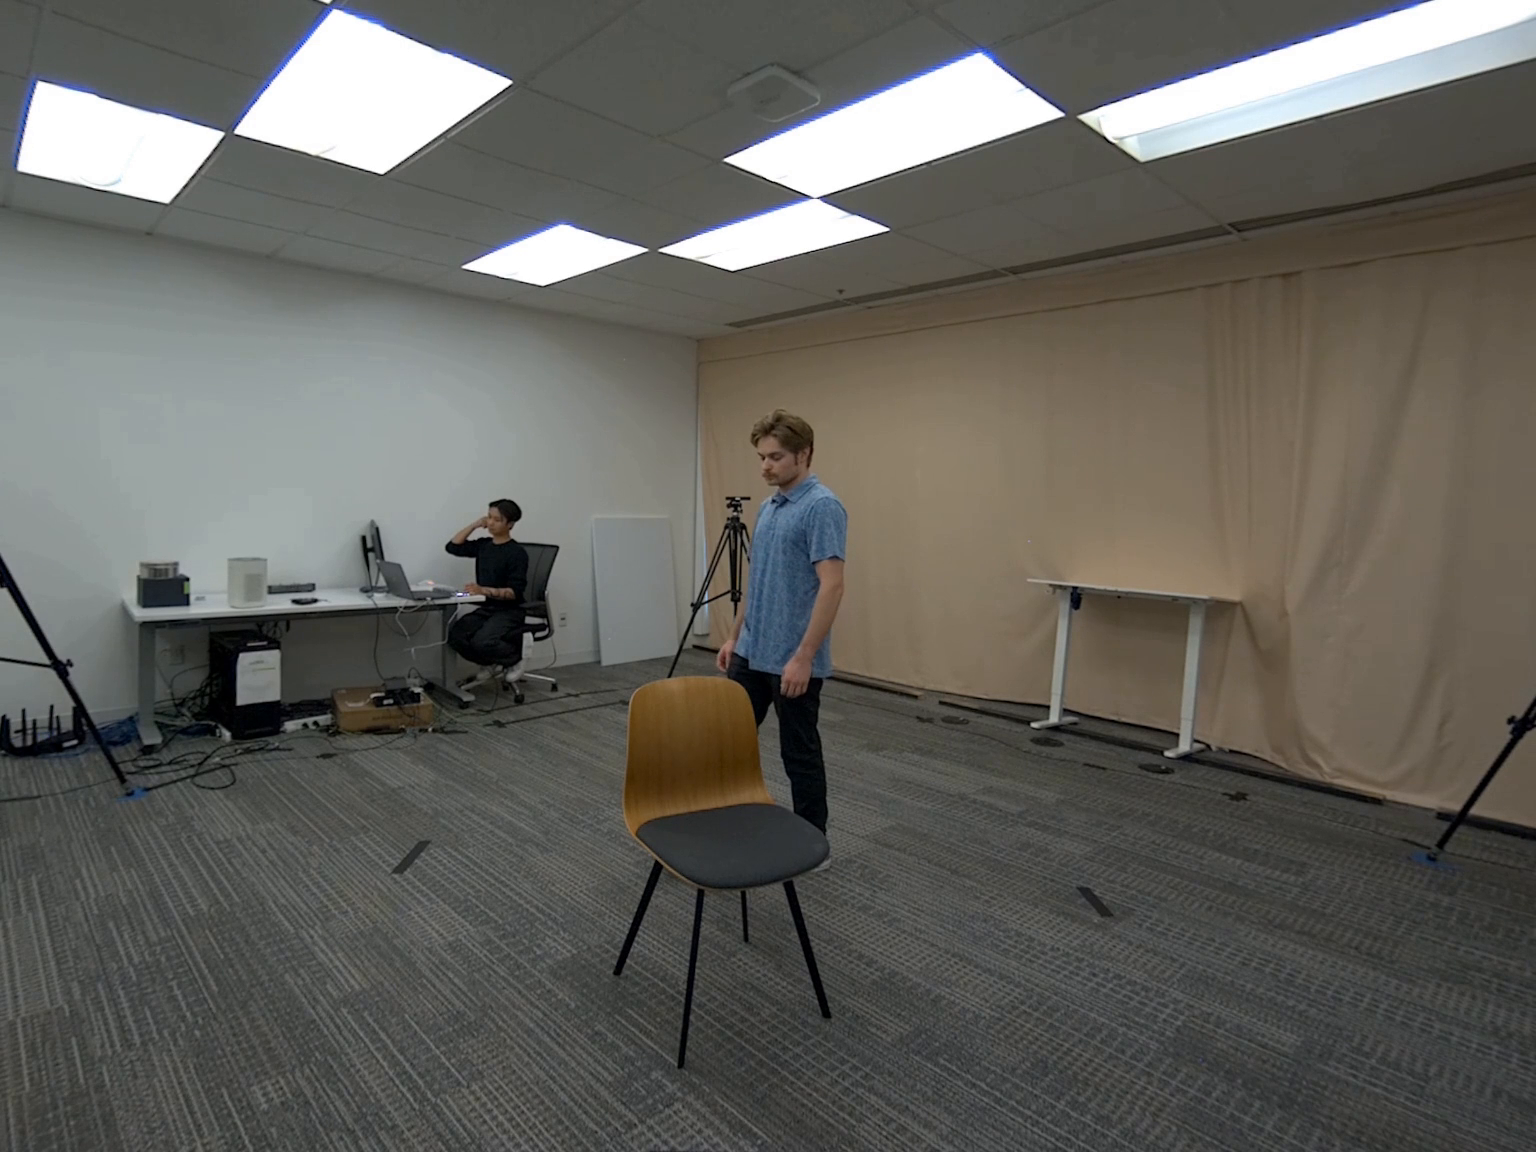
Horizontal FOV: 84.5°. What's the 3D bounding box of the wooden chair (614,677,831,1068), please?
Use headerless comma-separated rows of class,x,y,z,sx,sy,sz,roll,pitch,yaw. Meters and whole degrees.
wooden chair,-0.131,0.752,2.312,0.468,0.878,0.534,0,0,-31
